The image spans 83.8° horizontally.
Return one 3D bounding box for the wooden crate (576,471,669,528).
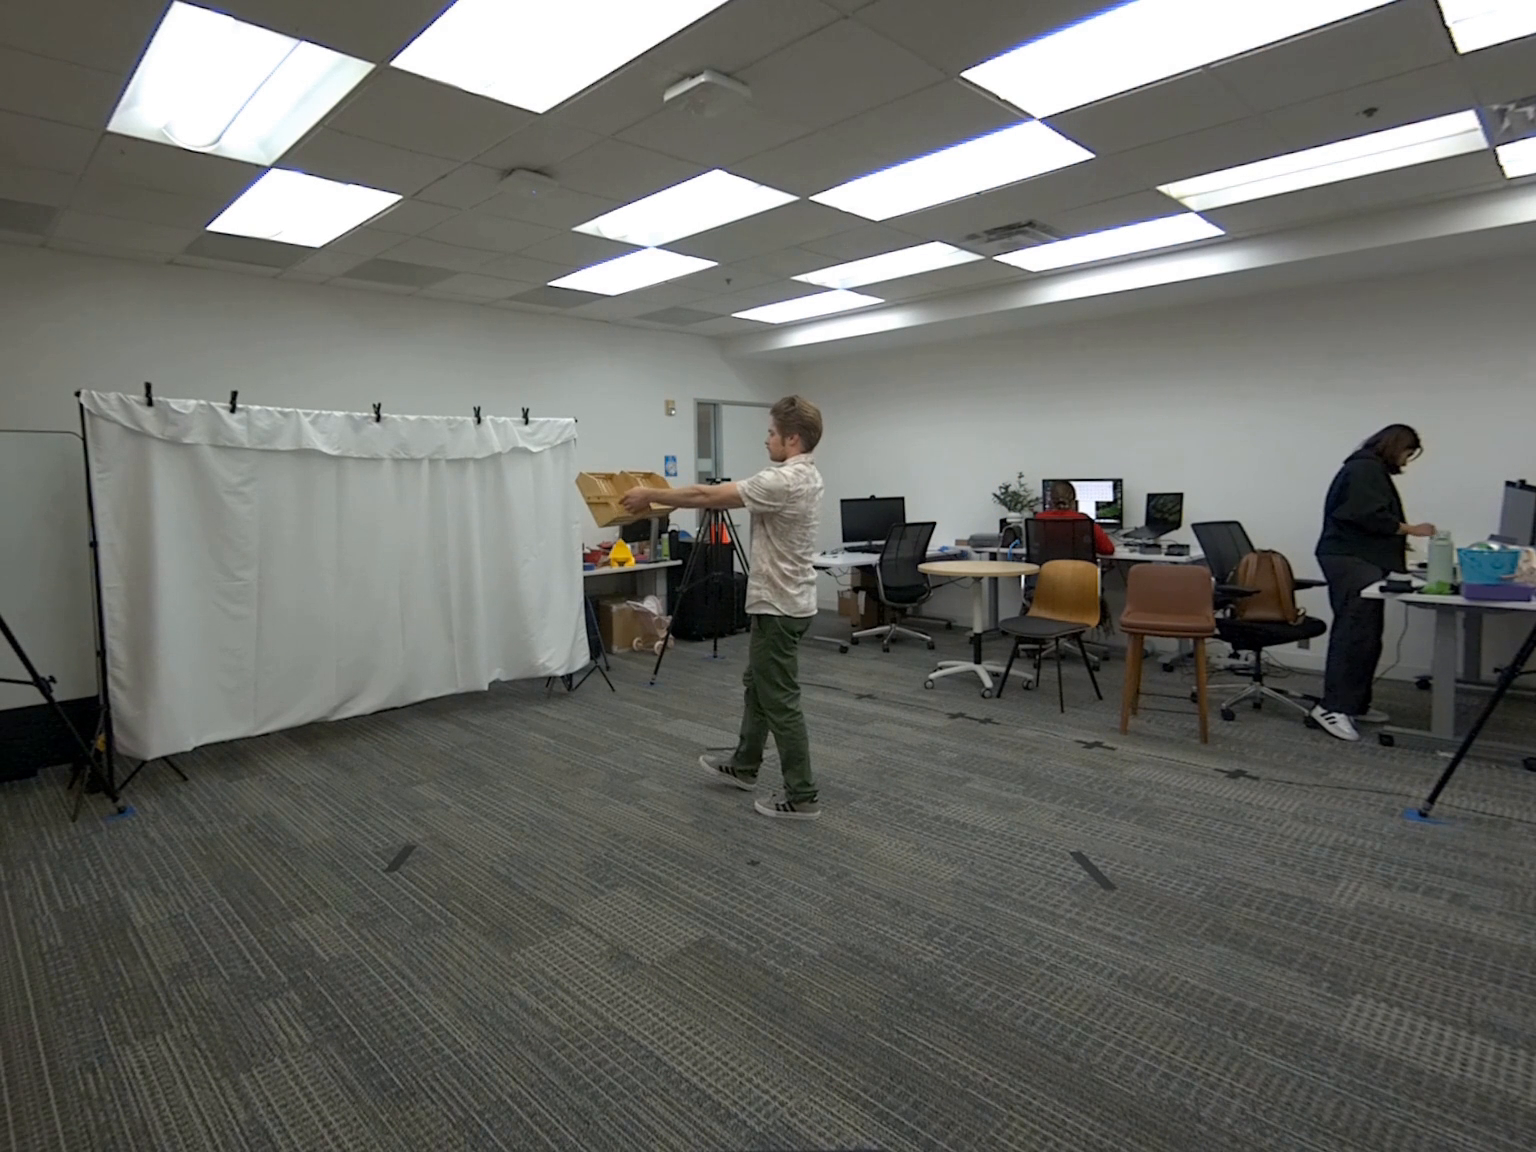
[{"bbox_3d":[-0.606,-0.373,3.744,0.275,0.304,0.320,-29,-4,18],"label":"wooden crate"}]
